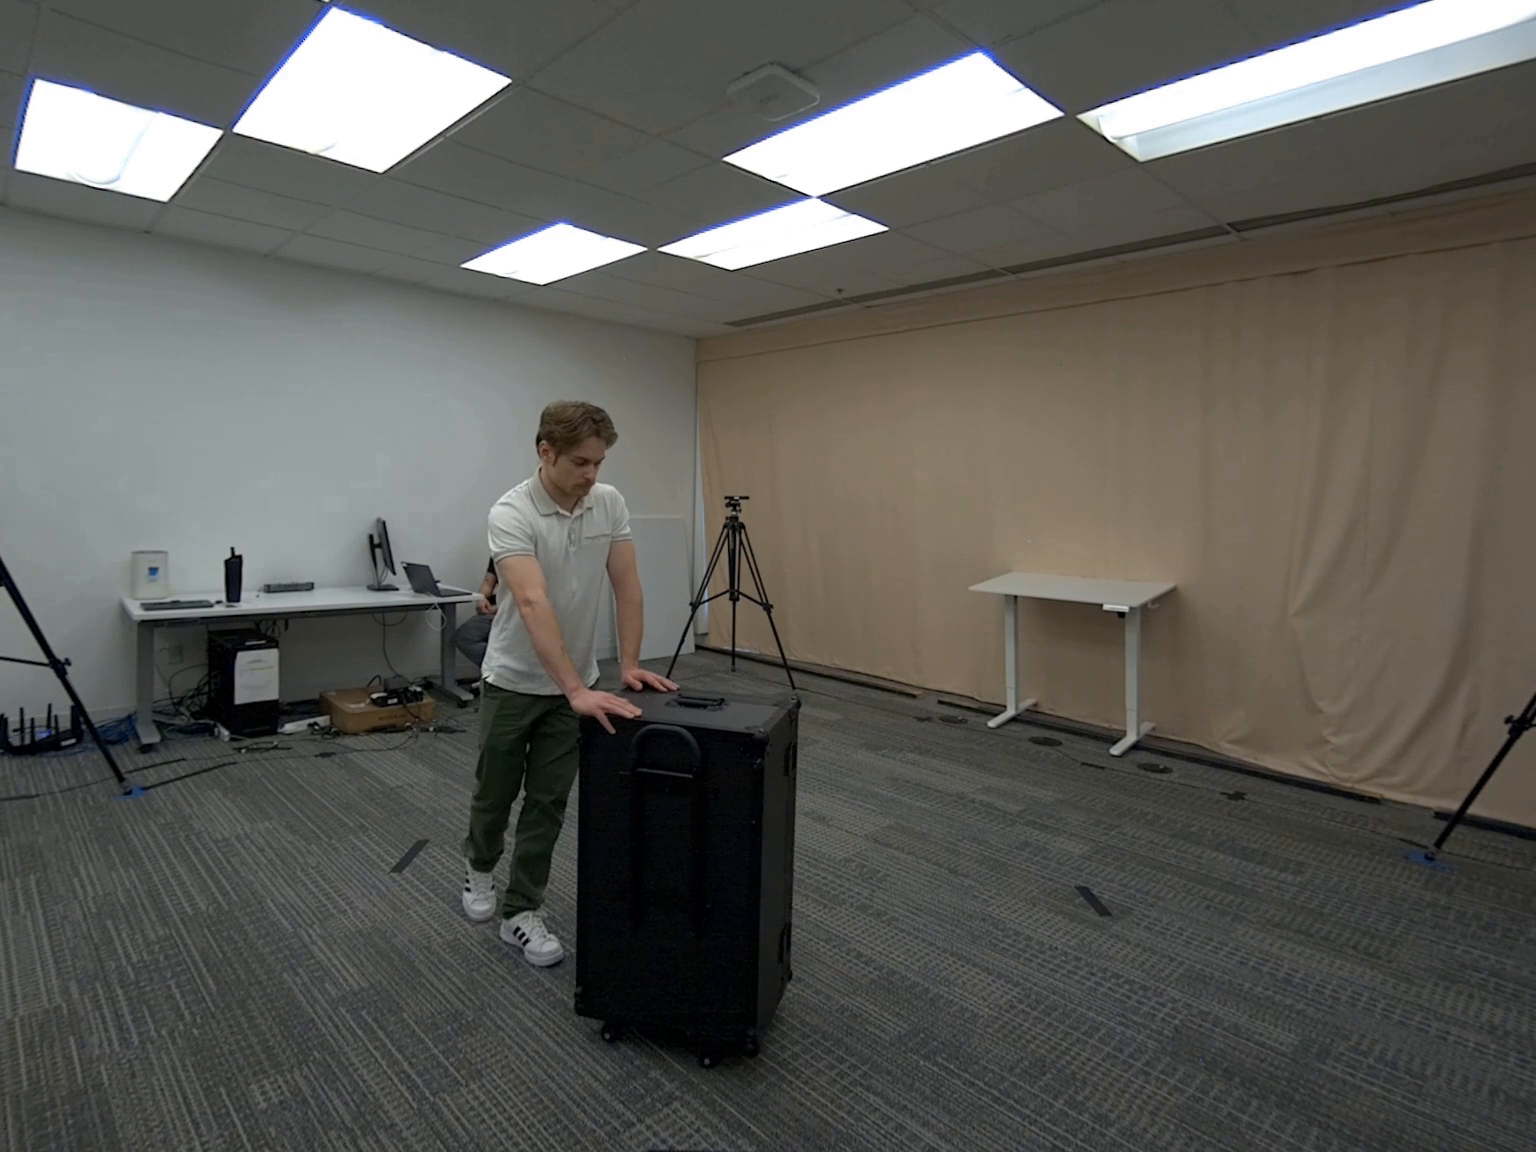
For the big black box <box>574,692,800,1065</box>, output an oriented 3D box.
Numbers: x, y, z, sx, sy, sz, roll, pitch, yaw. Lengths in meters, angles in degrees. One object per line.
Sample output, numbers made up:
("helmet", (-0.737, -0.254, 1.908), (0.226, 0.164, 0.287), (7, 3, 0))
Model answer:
("big black box", (-0.205, 0.768, 2.187), (0.531, 0.866, 0.381), (3, 4, 18))
